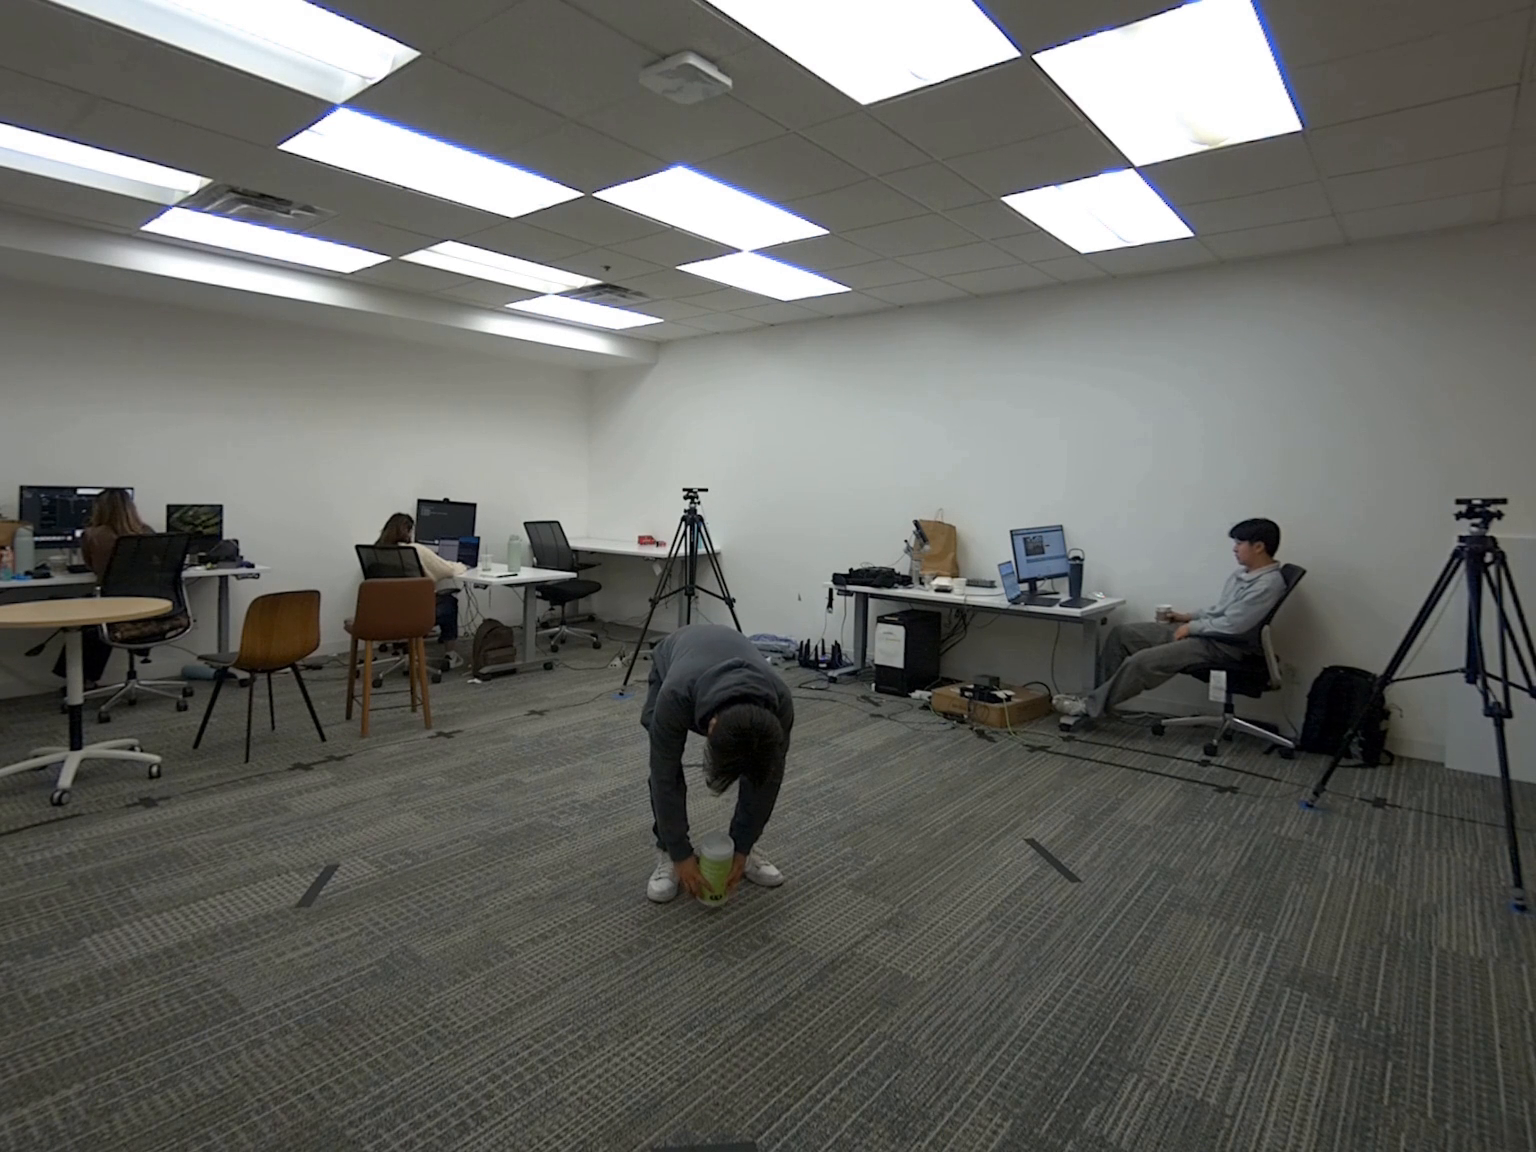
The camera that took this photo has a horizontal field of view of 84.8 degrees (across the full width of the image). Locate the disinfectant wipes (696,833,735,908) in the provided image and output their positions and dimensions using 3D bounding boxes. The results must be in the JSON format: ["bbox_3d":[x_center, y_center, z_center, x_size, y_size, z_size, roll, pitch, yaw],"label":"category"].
[{"bbox_3d":[-0.186,0.960,2.786,0.117,0.214,0.120,5,18,-4],"label":"disinfectant wipes"}]
